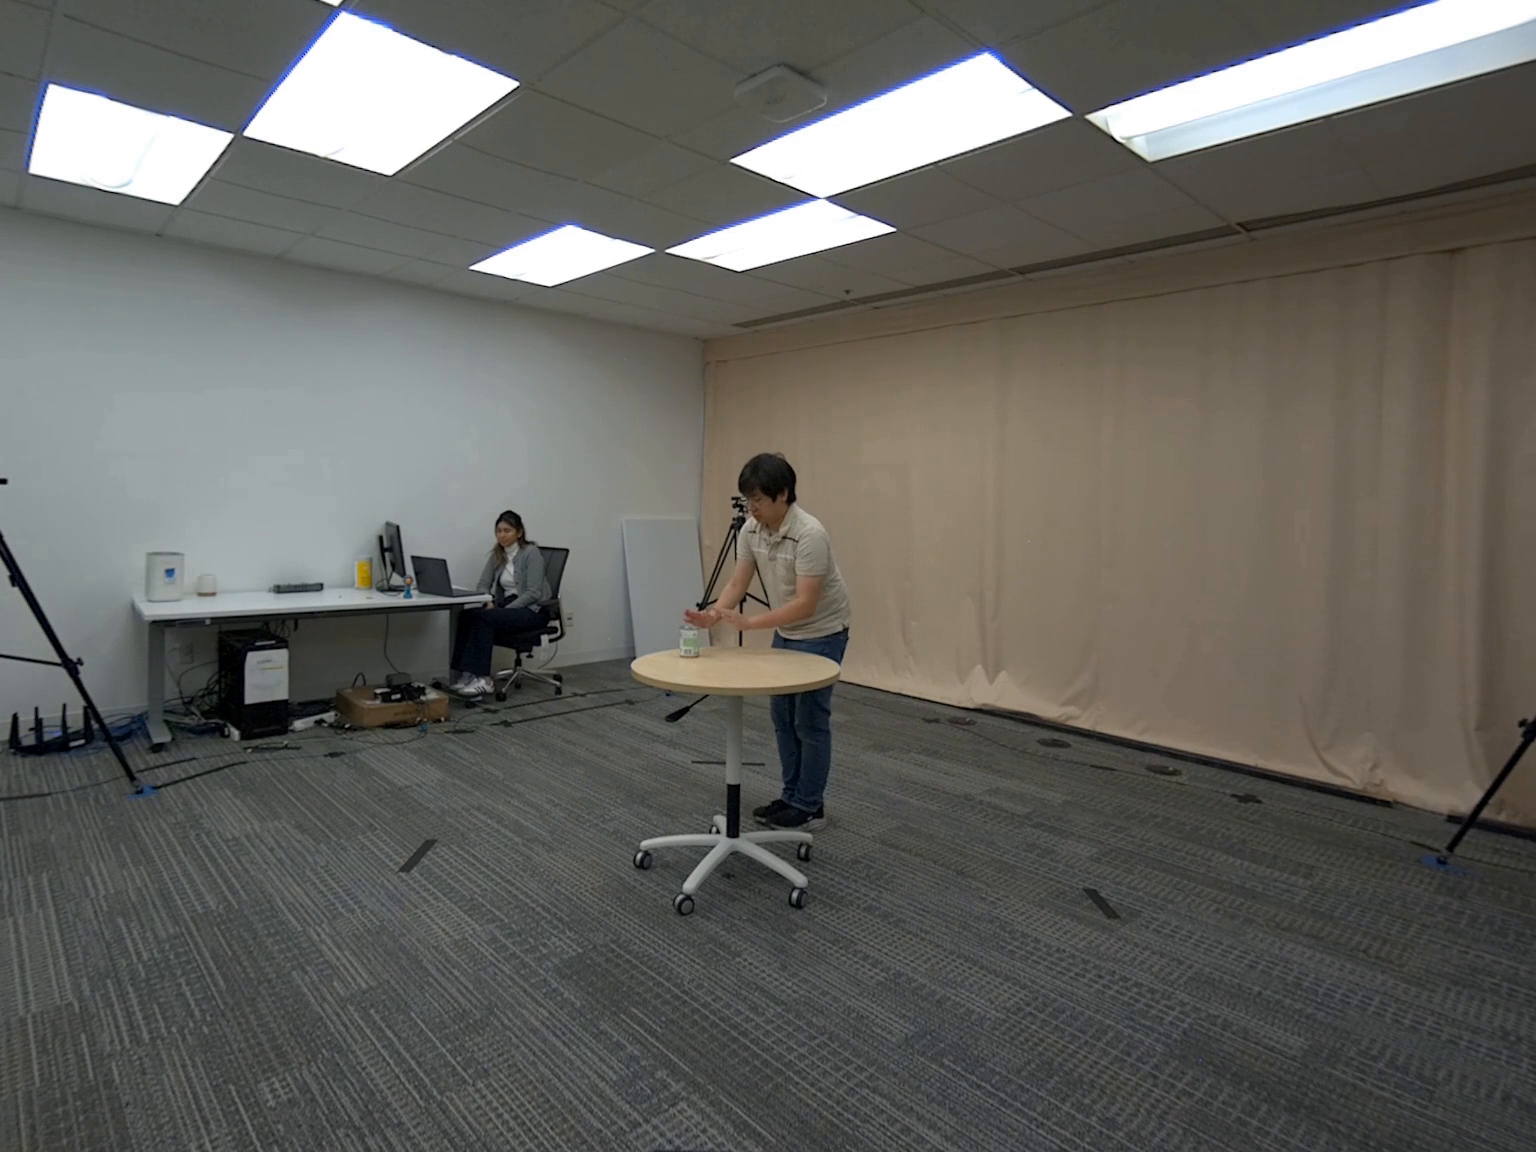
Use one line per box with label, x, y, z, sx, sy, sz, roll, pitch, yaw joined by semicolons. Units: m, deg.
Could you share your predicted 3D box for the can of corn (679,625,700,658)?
can of corn;-0.314;0.258;3.231;0.074;0.111;0.074;1;4;-1
